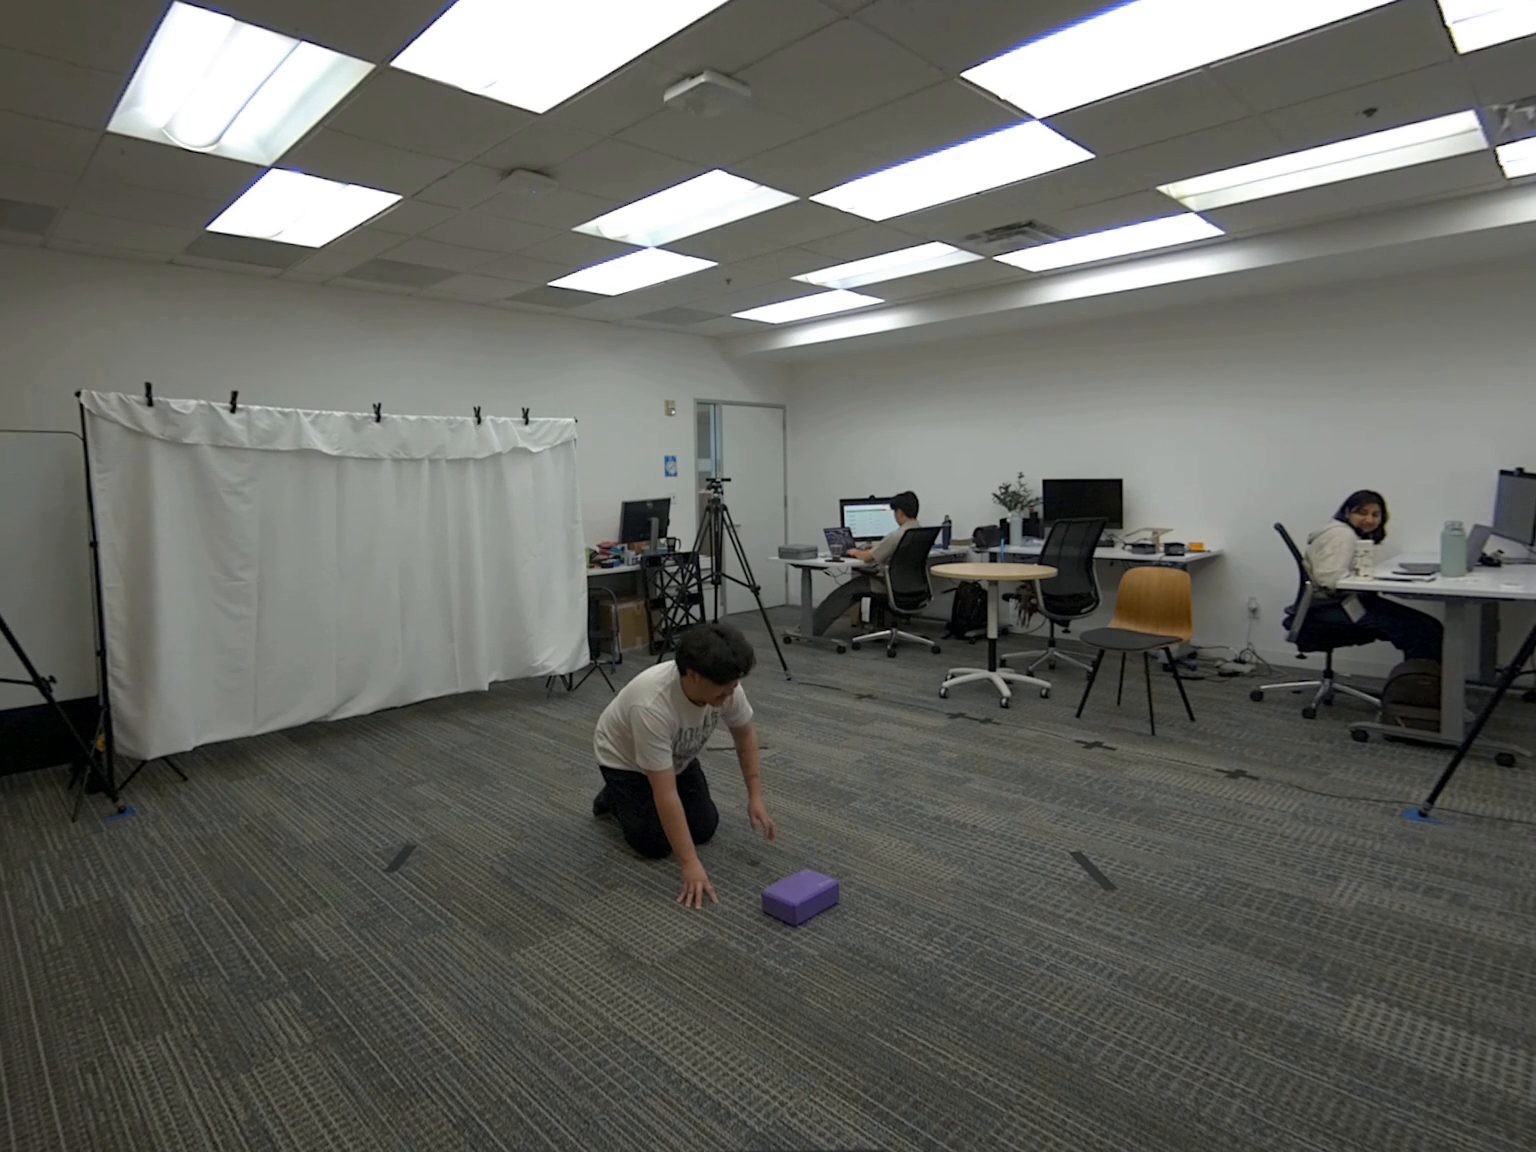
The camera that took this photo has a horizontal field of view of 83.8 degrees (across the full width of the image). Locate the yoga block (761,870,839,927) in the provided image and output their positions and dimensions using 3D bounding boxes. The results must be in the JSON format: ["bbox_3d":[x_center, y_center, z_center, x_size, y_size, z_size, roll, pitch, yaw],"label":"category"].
[{"bbox_3d":[0.109,1.038,2.776,0.153,0.076,0.223,3,7,44],"label":"yoga block"}]
